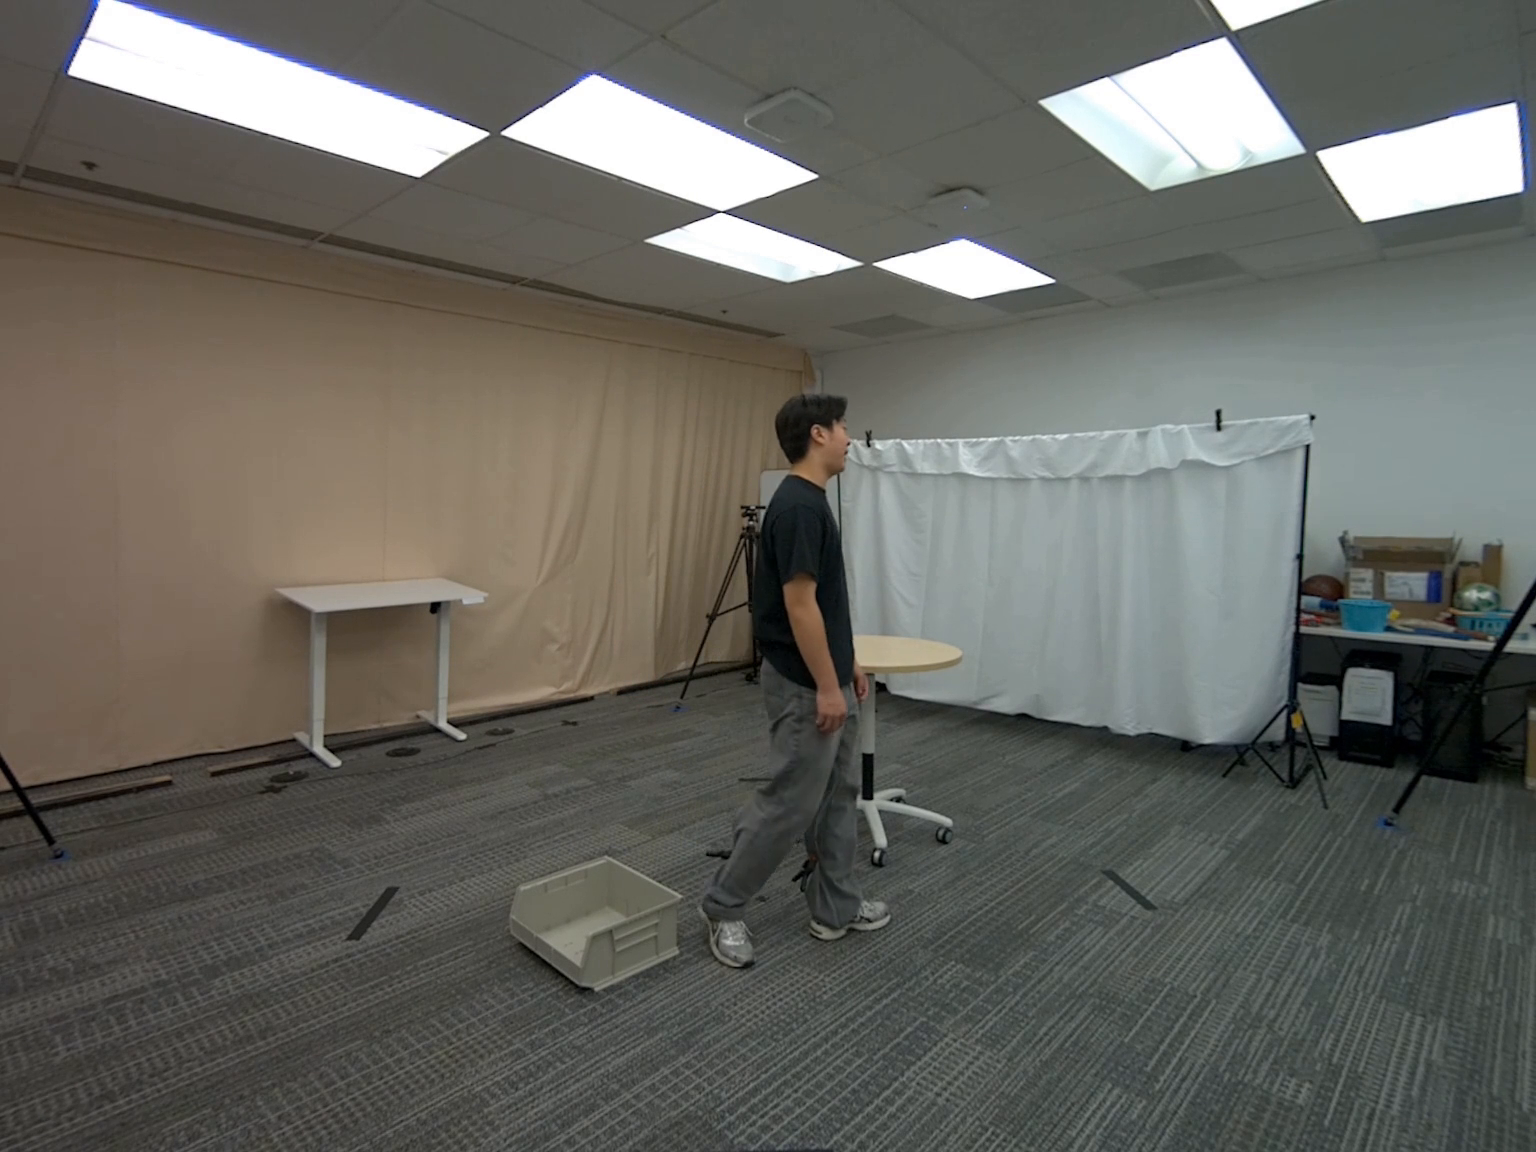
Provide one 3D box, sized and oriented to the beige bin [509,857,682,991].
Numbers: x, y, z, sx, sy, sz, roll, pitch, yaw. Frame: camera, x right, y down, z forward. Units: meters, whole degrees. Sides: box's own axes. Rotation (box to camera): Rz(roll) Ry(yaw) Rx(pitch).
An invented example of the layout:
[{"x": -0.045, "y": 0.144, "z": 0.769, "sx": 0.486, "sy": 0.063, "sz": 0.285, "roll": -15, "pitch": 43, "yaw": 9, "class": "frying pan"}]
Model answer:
[{"x": -0.544, "y": 1.088, "z": 2.651, "sx": 0.366, "sy": 0.188, "sz": 0.436, "roll": -3, "pitch": 5, "yaw": -43, "class": "beige bin"}]
